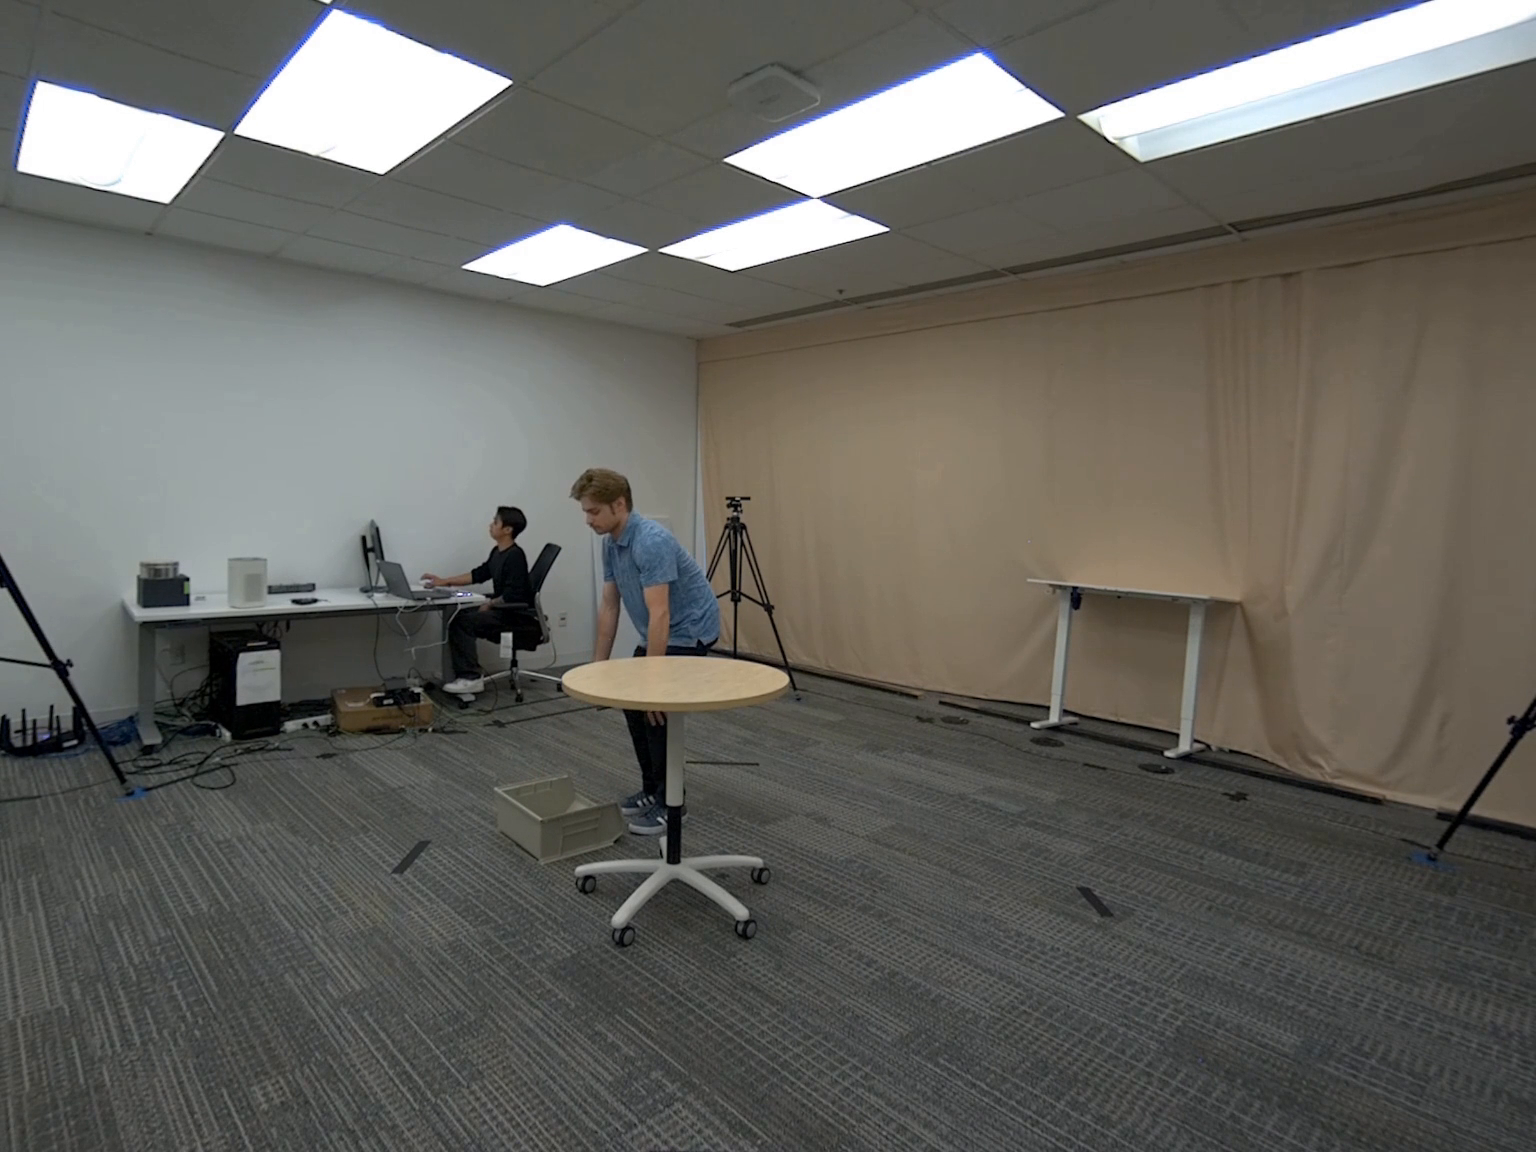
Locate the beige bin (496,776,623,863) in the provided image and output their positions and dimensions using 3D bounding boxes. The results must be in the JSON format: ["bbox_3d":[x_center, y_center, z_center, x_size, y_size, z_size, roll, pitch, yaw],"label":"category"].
[{"bbox_3d":[-0.859,0.978,3.424,0.369,0.188,0.433,-4,7,-40],"label":"beige bin"}]
